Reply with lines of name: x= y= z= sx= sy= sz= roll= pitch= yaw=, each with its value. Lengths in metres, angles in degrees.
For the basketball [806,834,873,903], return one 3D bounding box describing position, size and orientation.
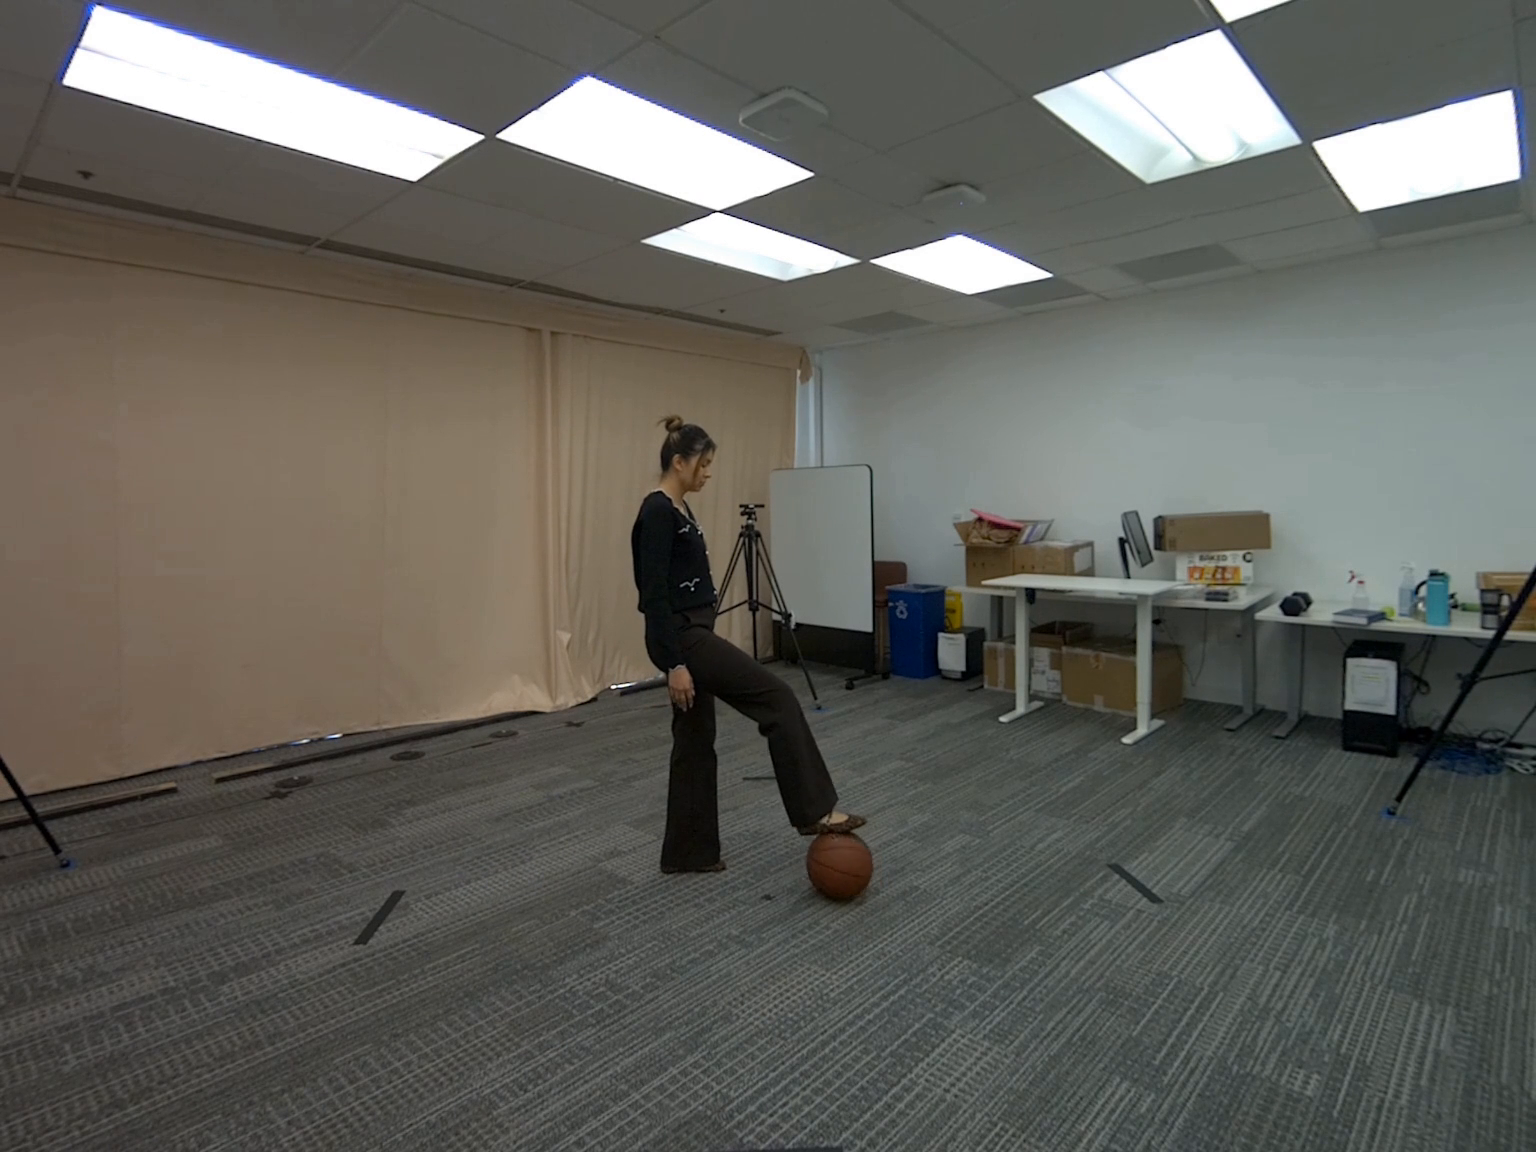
basketball: x=0.246 y=1.017 z=2.981 sx=0.236 sy=0.235 sz=0.237 roll=-1 pitch=4 yaw=-2
